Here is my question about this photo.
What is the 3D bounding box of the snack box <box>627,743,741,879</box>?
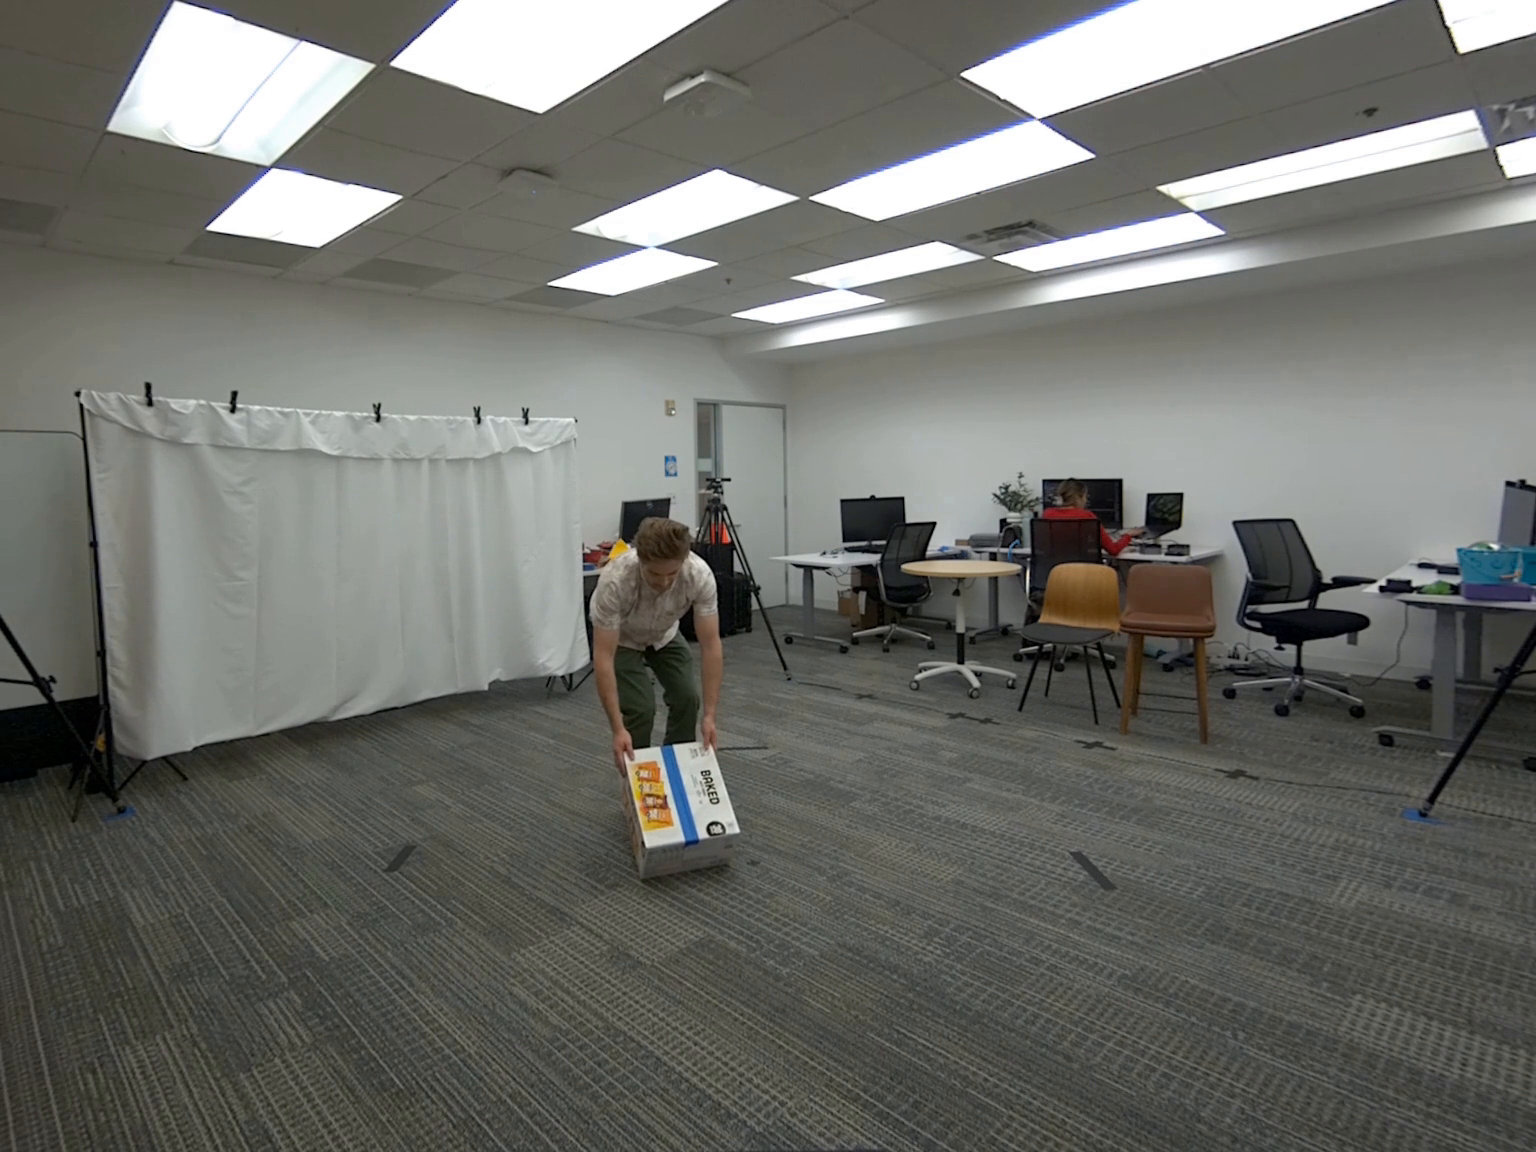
[{"bbox_3d":[-0.334,0.848,3.128,0.335,0.201,0.420,-4,42,-20],"label":"snack box"}]
